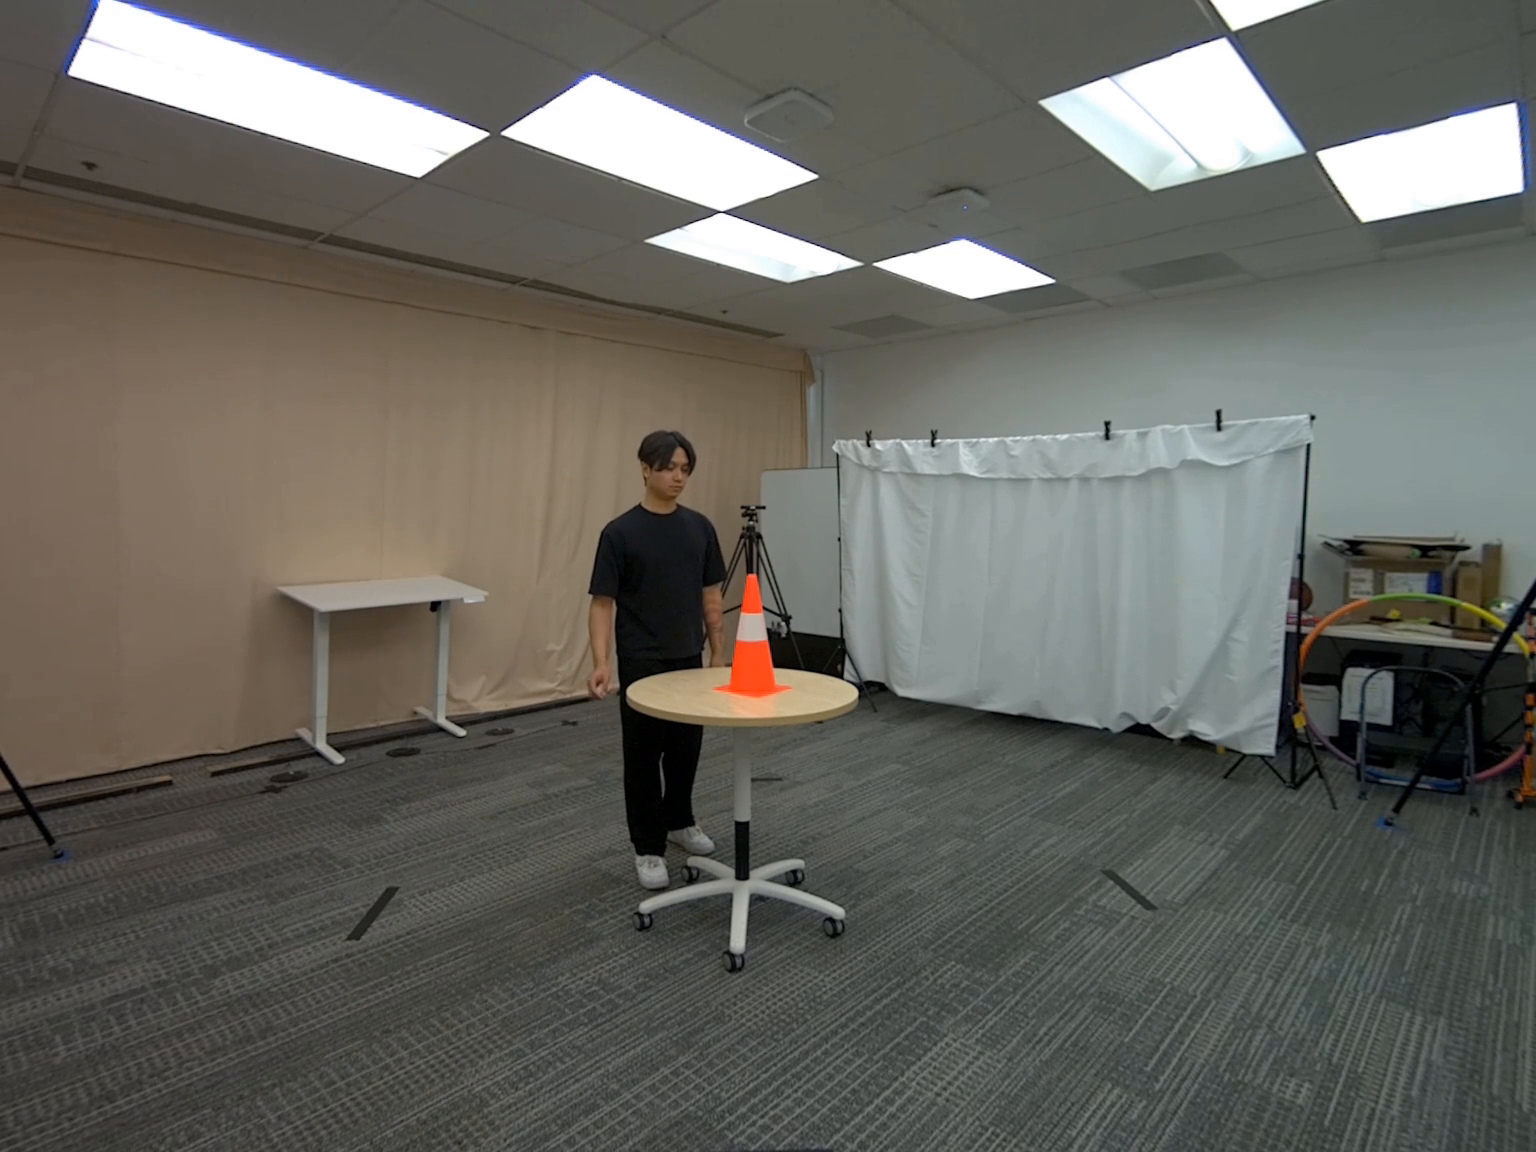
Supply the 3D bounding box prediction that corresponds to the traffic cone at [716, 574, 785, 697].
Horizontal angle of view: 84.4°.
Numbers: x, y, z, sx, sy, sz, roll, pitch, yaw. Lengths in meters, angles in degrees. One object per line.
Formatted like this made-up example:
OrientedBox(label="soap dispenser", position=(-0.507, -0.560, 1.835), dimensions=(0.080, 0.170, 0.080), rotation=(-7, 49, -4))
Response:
OrientedBox(label="traffic cone", position=(-0.048, 0.191, 2.805), dimensions=(0.211, 0.383, 0.198), rotation=(0, 2, 29))
